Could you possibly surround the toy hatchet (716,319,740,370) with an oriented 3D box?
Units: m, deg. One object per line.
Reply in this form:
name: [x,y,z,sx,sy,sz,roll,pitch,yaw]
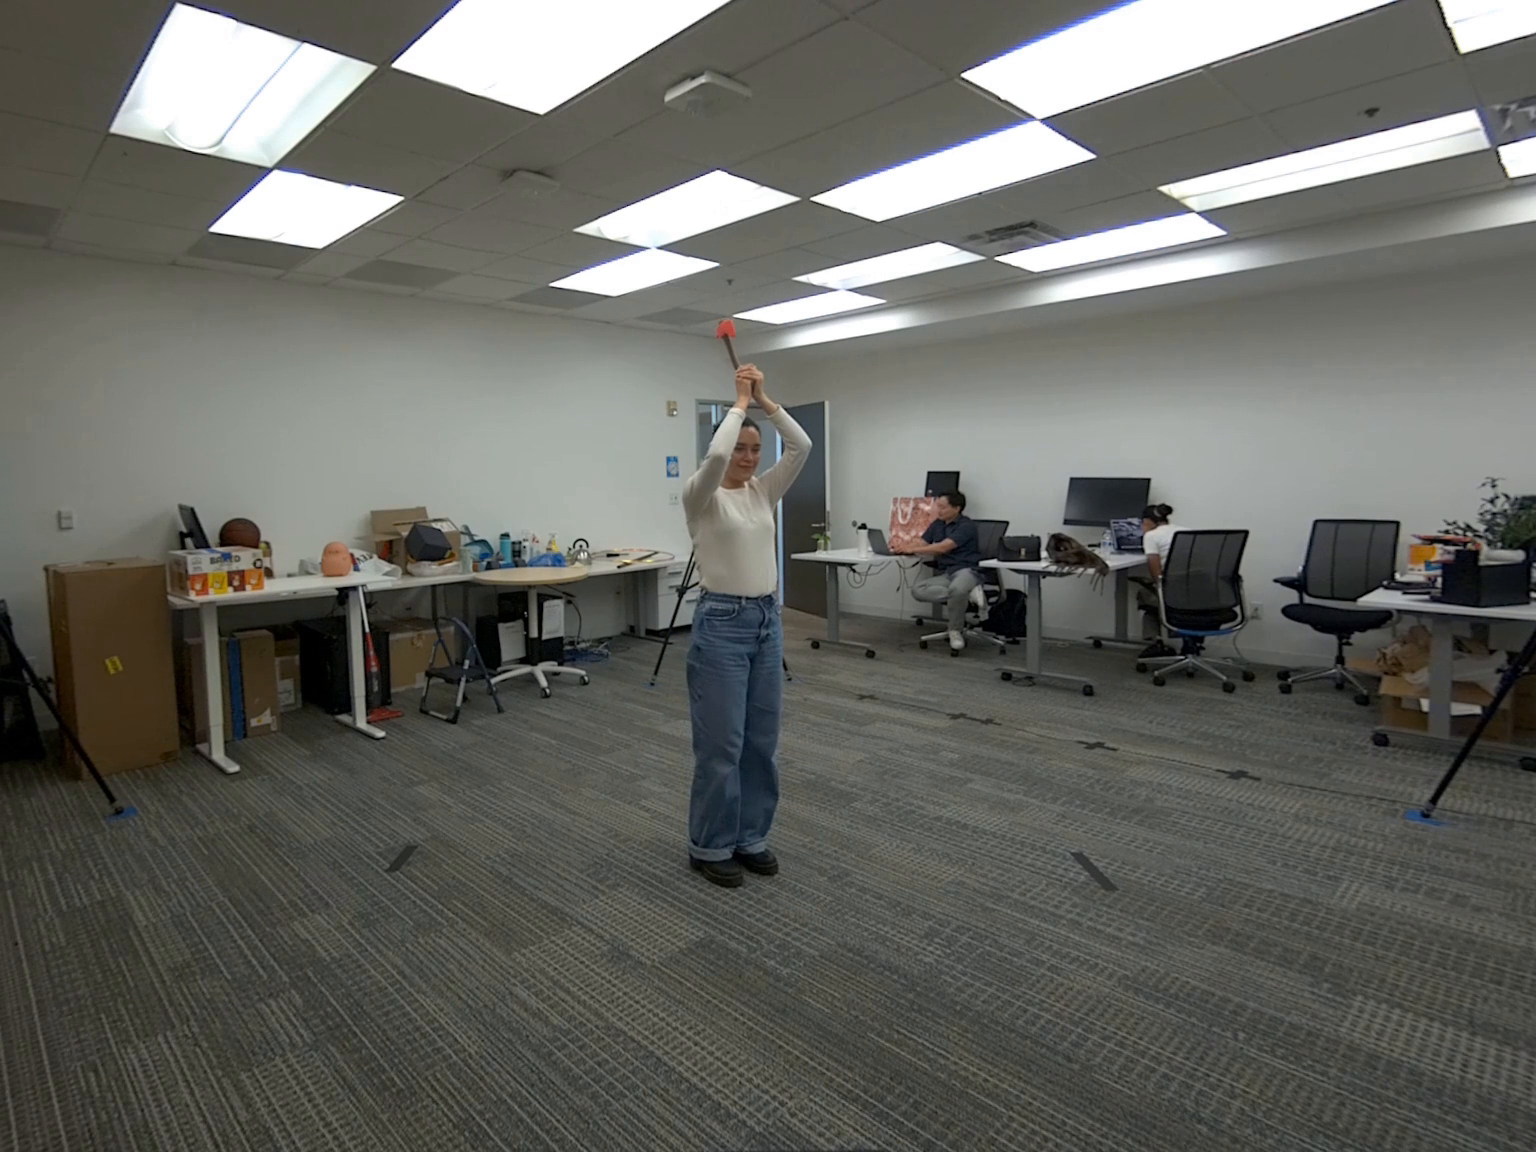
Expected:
toy hatchet: [-0.099,-0.766,2.908,0.029,0.277,0.130,-19,-22,-28]
